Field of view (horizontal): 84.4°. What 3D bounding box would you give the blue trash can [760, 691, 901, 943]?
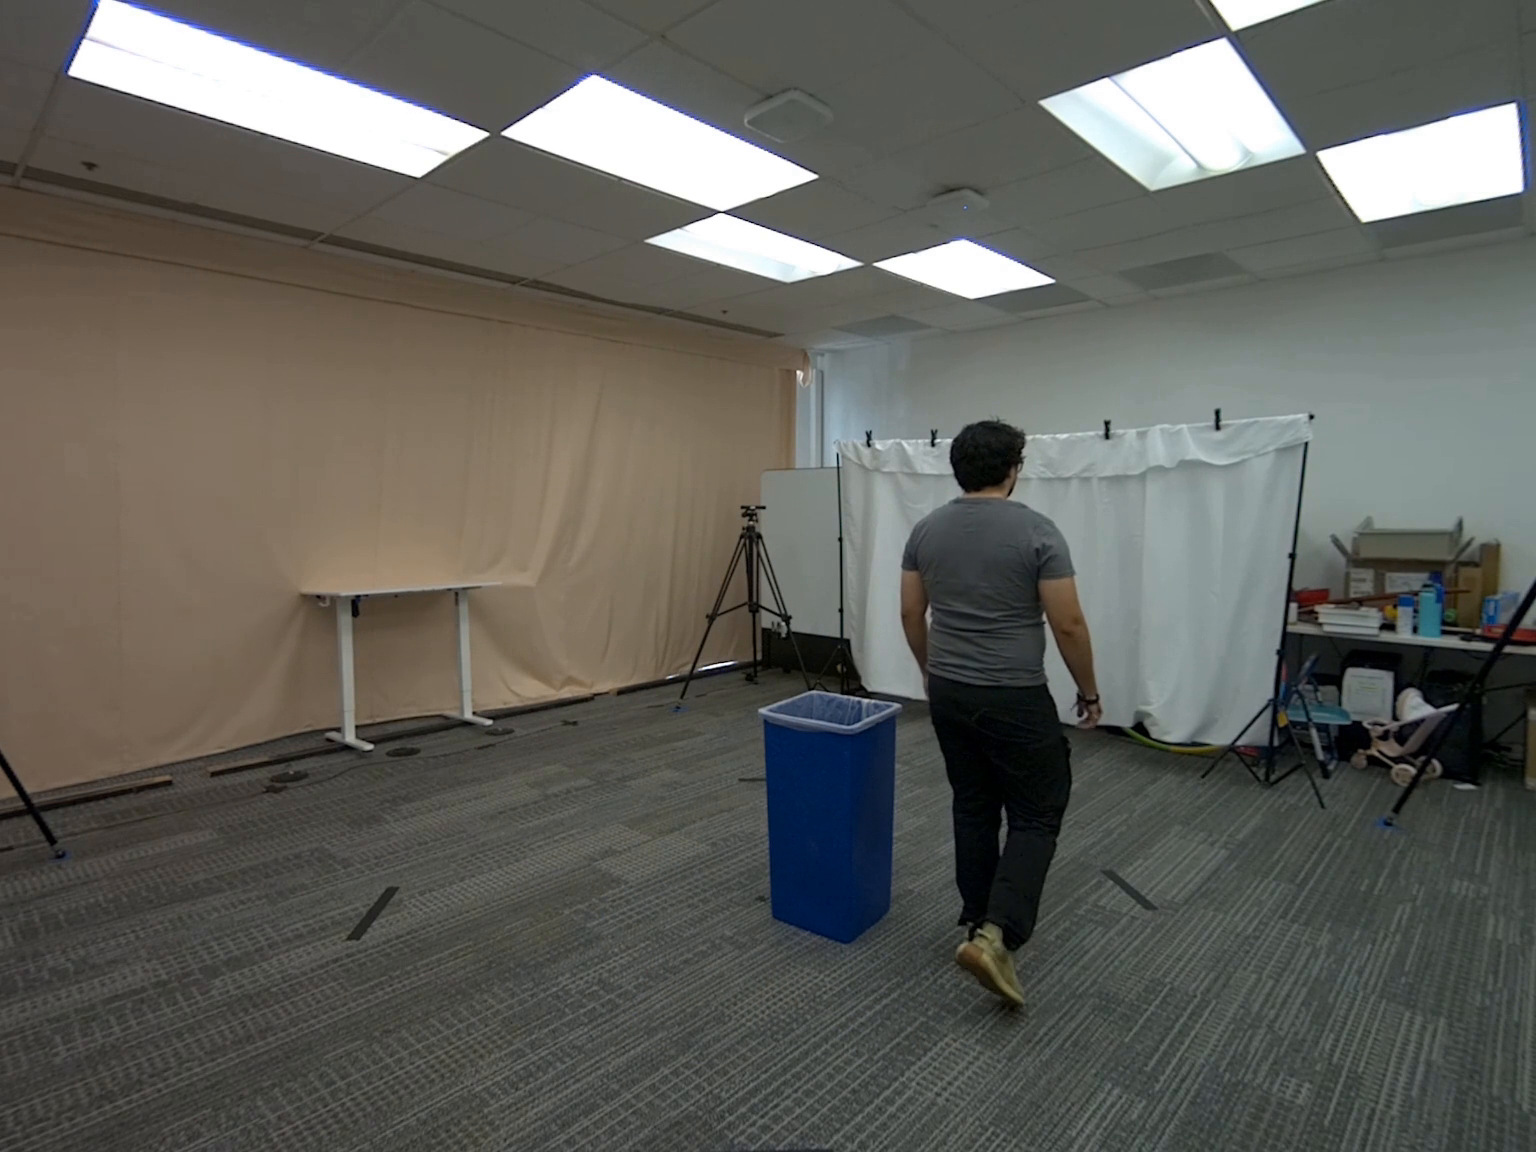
[{"bbox_3d":[0.214,0.796,2.848,0.390,0.712,0.363,2,4,36],"label":"blue trash can"}]
